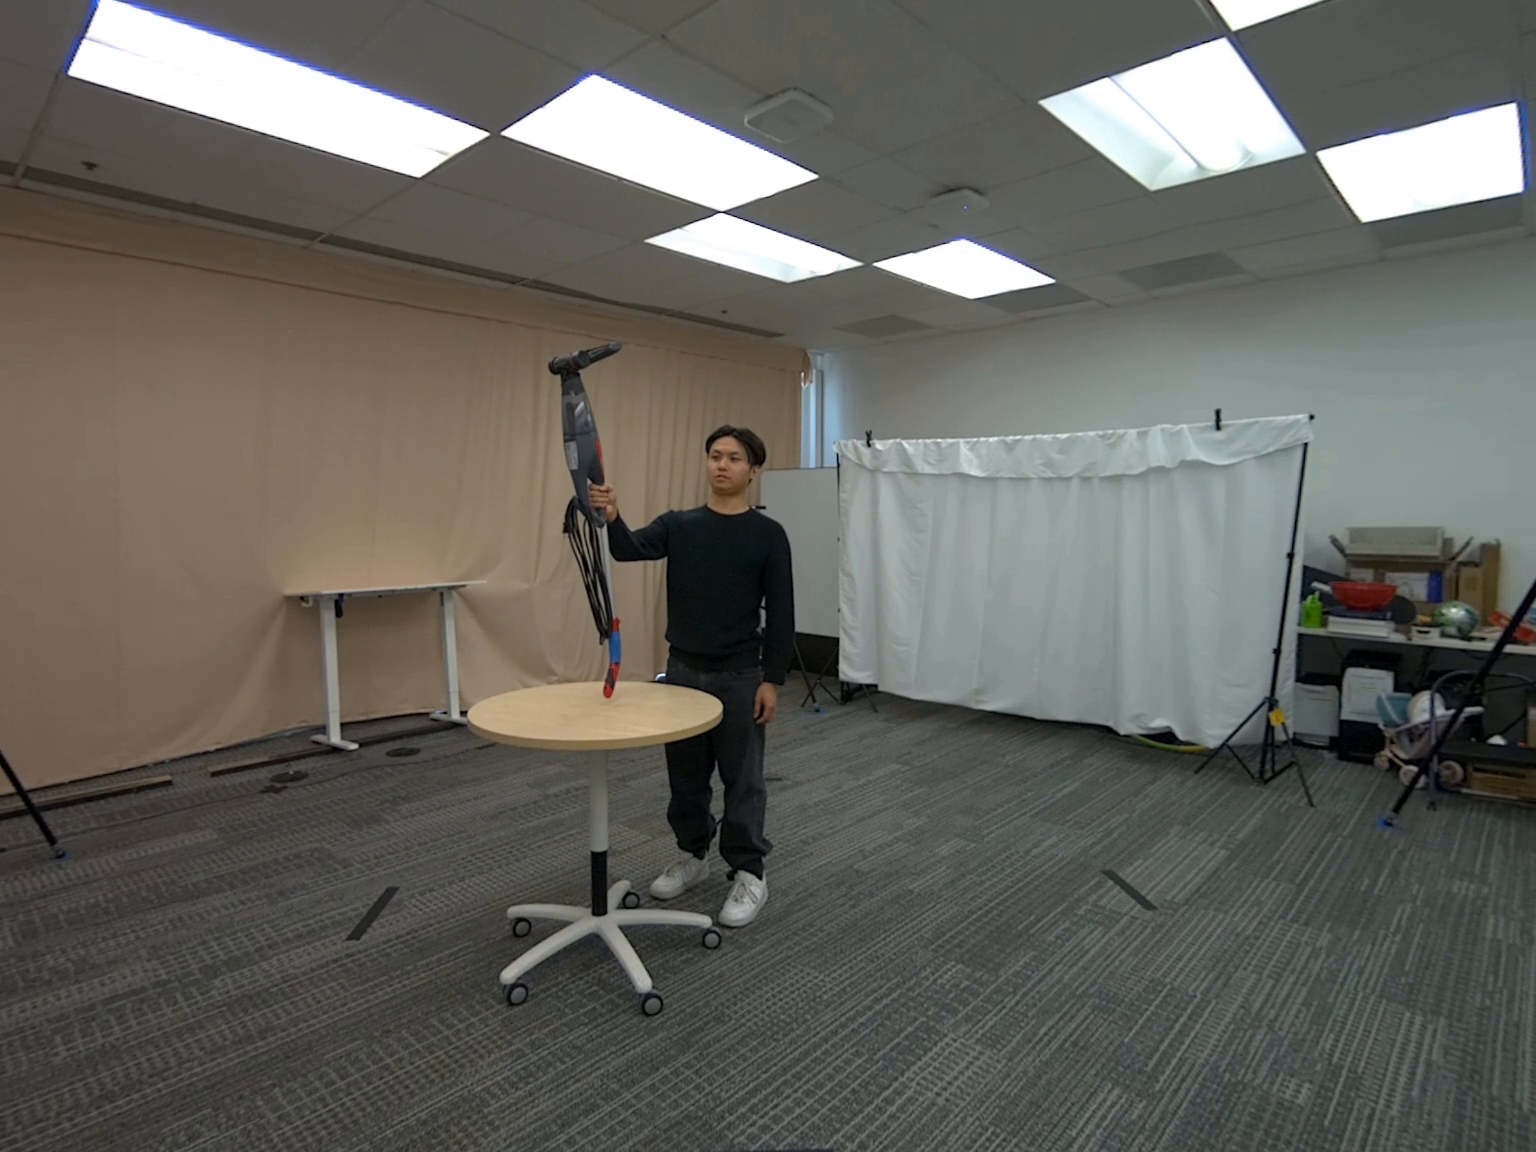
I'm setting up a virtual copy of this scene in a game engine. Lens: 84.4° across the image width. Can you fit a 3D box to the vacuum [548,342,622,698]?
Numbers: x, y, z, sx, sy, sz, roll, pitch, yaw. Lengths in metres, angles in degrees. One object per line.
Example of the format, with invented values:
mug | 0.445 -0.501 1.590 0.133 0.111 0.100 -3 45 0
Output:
vacuum | -0.538 -0.157 2.556 0.260 1.048 0.140 -3 2 40
